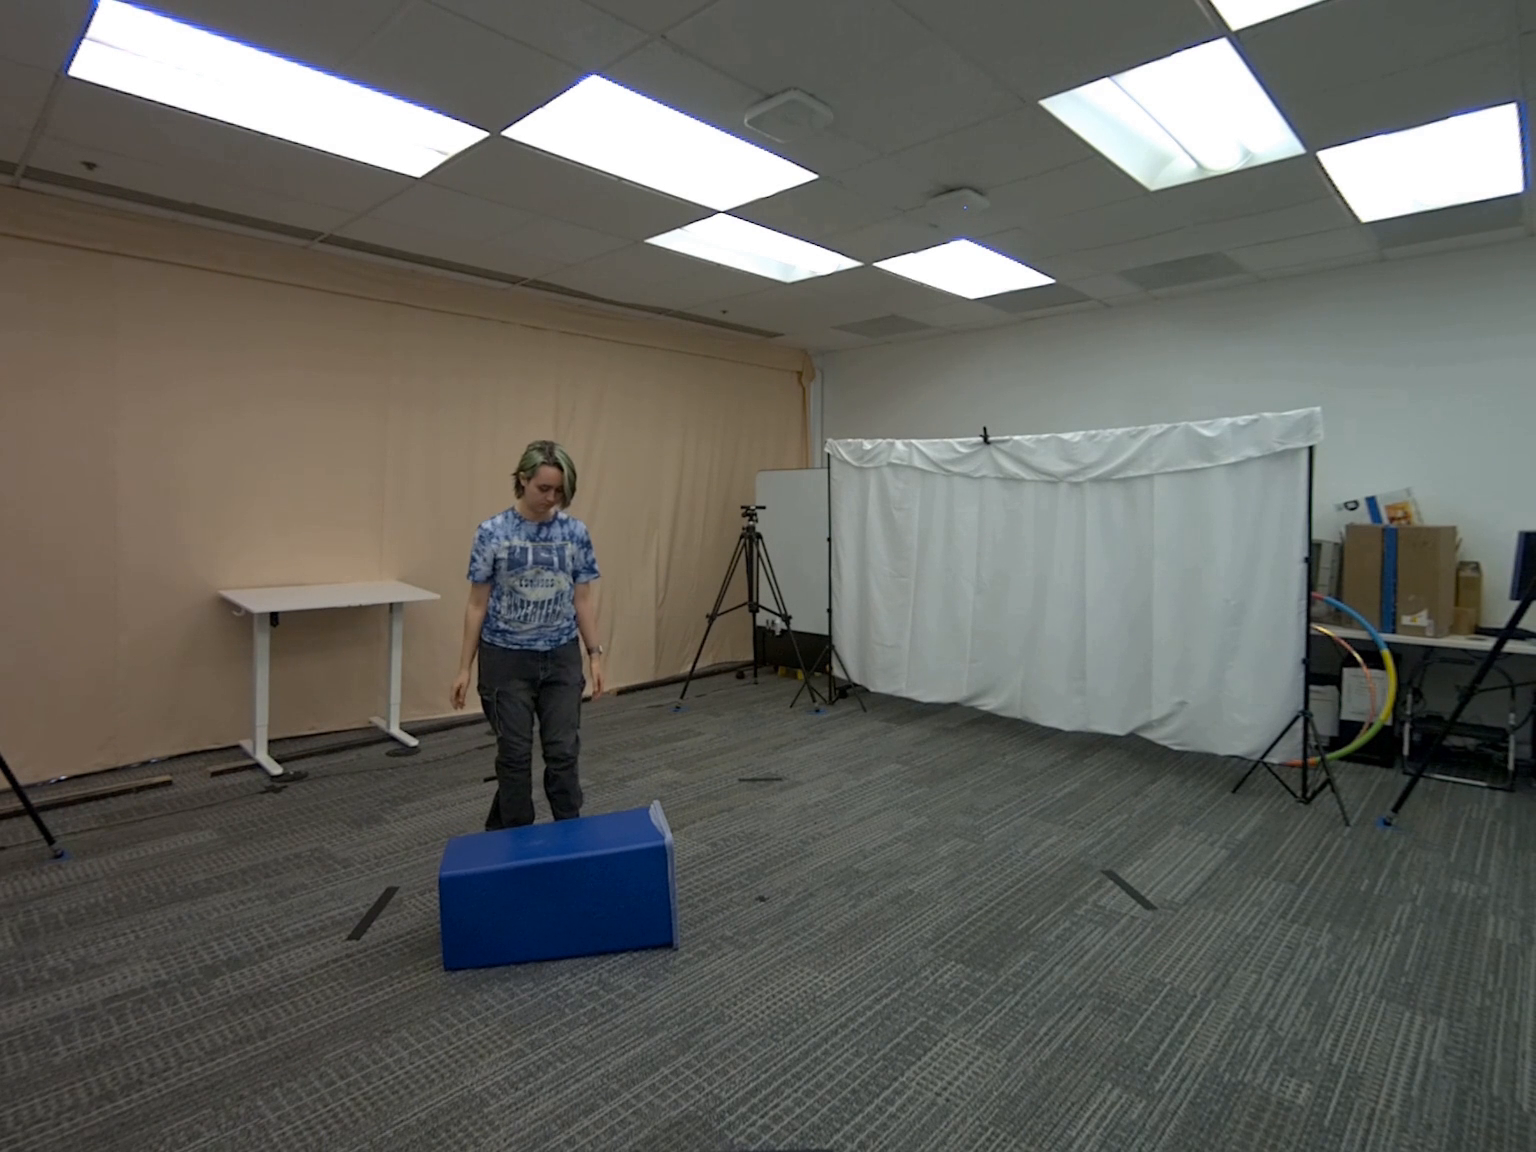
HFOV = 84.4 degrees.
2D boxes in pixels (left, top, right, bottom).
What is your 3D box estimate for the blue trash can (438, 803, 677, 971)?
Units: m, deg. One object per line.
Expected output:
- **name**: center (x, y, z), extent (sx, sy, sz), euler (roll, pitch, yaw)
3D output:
- **blue trash can**: center (-0.667, 0.994, 2.723), extent (0.704, 0.373, 0.384), euler (-3, 4, -13)
